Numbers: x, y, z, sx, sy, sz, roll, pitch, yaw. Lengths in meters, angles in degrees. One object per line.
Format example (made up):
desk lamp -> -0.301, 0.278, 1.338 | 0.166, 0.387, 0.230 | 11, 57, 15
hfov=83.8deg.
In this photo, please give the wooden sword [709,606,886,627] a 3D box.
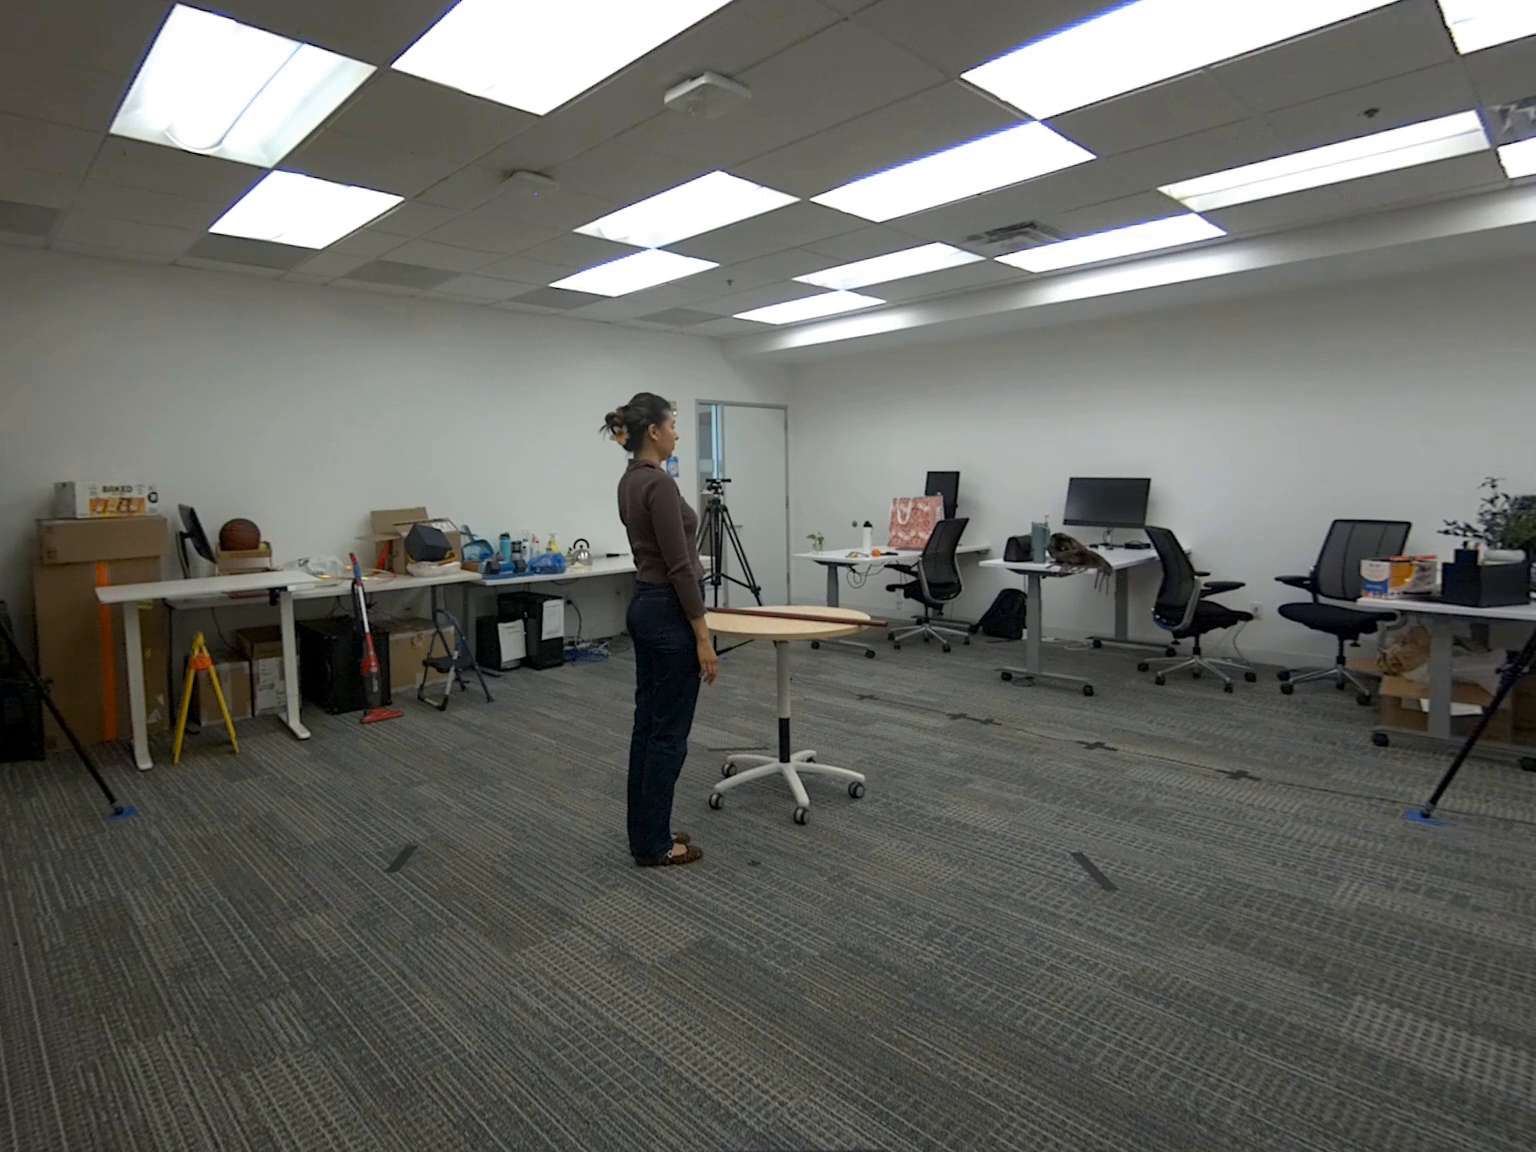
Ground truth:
wooden sword -> 0.101, 0.182, 3.766 | 1.054, 0.052, 0.023 | 3, -22, 35
